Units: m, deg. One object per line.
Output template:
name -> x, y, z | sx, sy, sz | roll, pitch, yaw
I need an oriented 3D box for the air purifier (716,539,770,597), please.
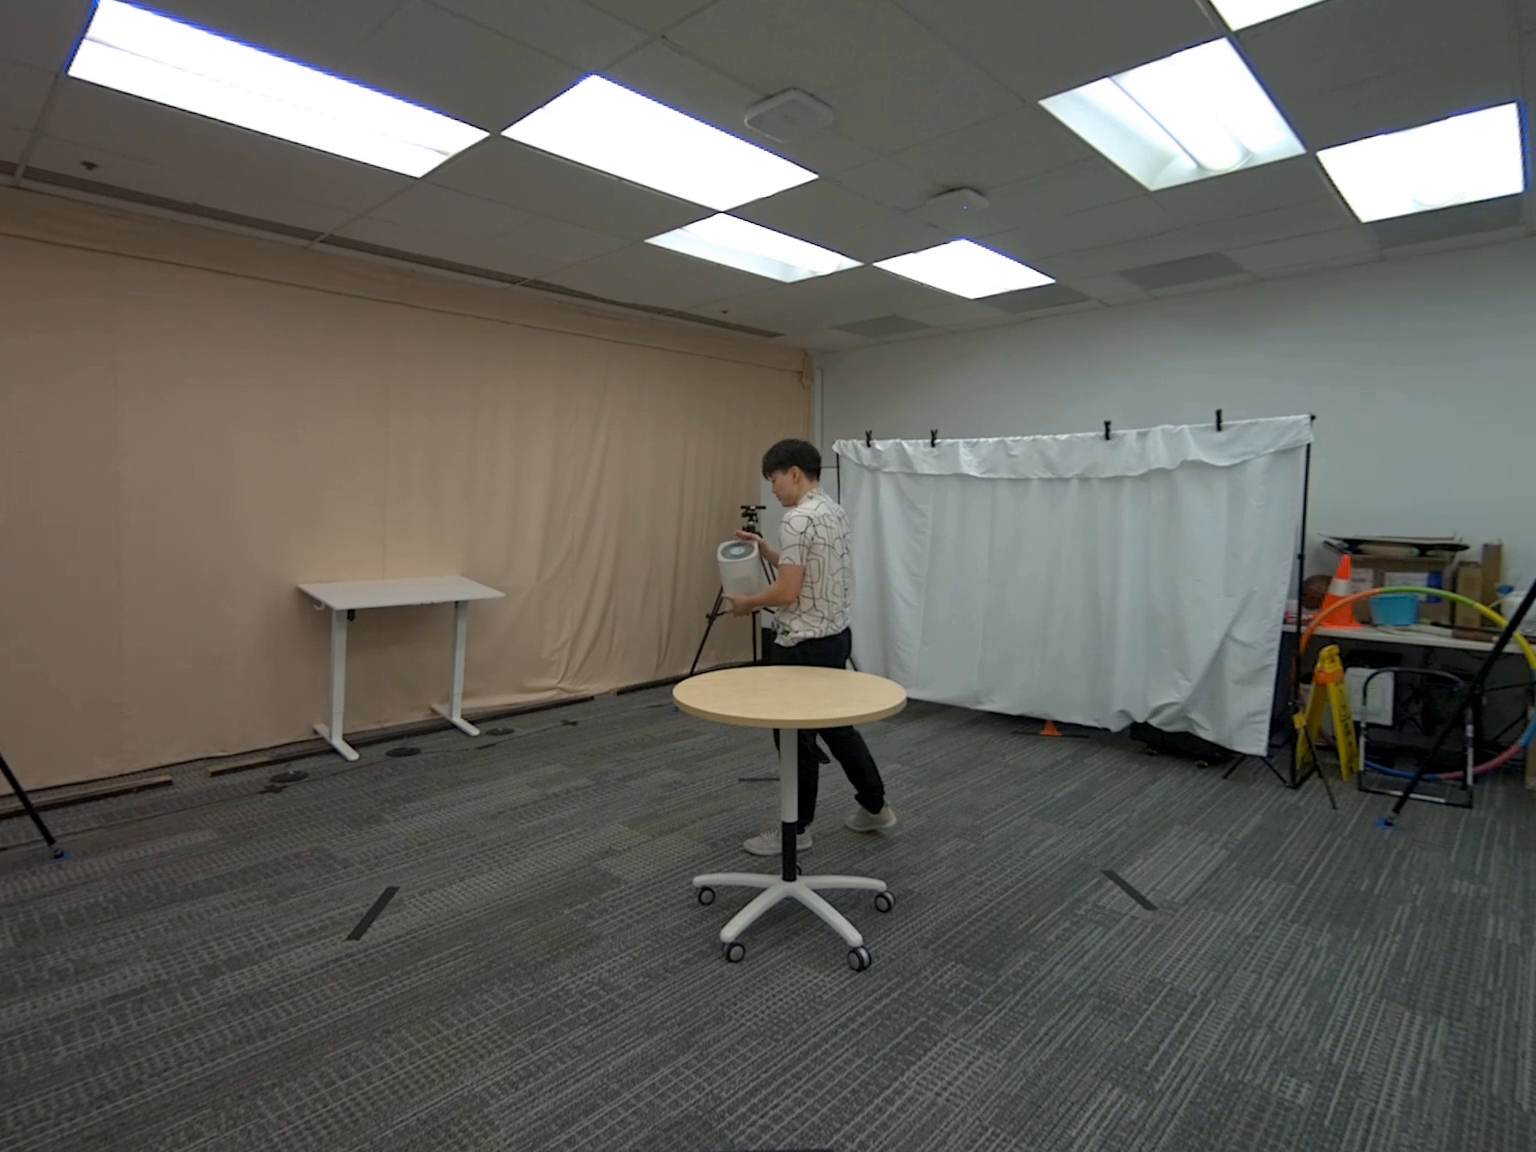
air purifier -> -0.096, 0.005, 3.516 | 0.173, 0.260, 0.173 | -6, 30, 7
